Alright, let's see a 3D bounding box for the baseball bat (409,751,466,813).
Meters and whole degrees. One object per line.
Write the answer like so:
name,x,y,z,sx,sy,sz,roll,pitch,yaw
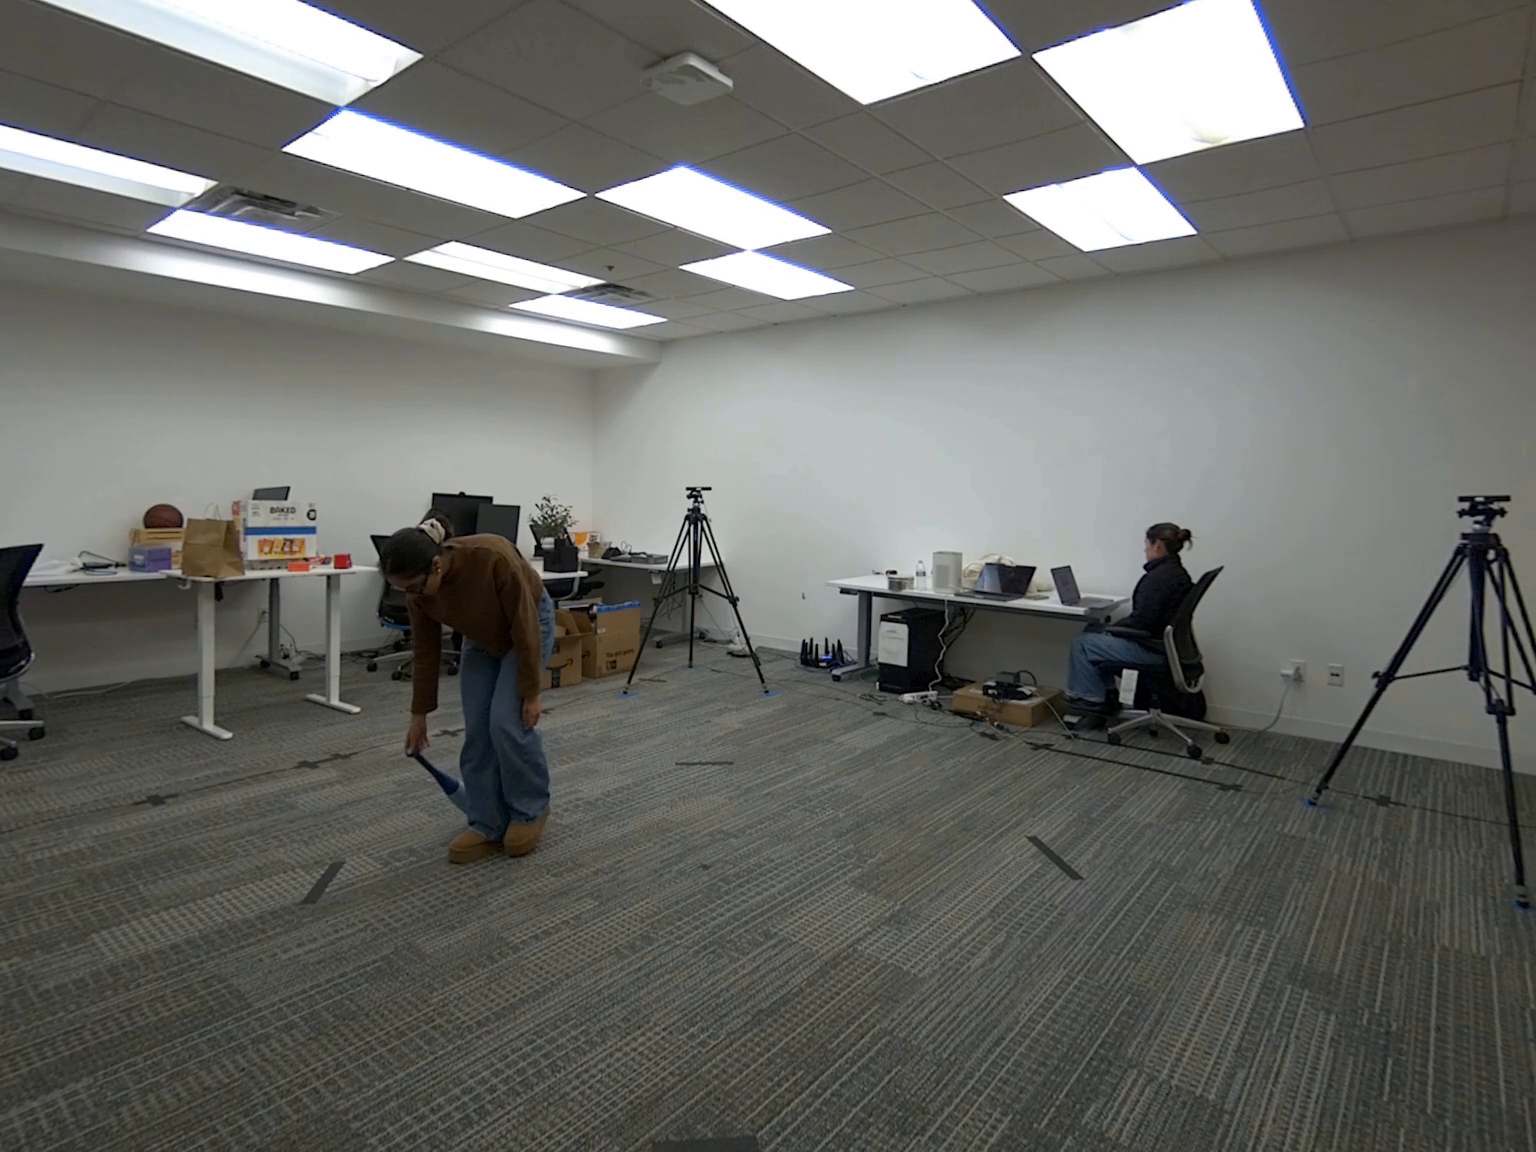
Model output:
baseball bat,-1.273,0.822,3.346,0.091,0.090,0.522,3,-40,29
